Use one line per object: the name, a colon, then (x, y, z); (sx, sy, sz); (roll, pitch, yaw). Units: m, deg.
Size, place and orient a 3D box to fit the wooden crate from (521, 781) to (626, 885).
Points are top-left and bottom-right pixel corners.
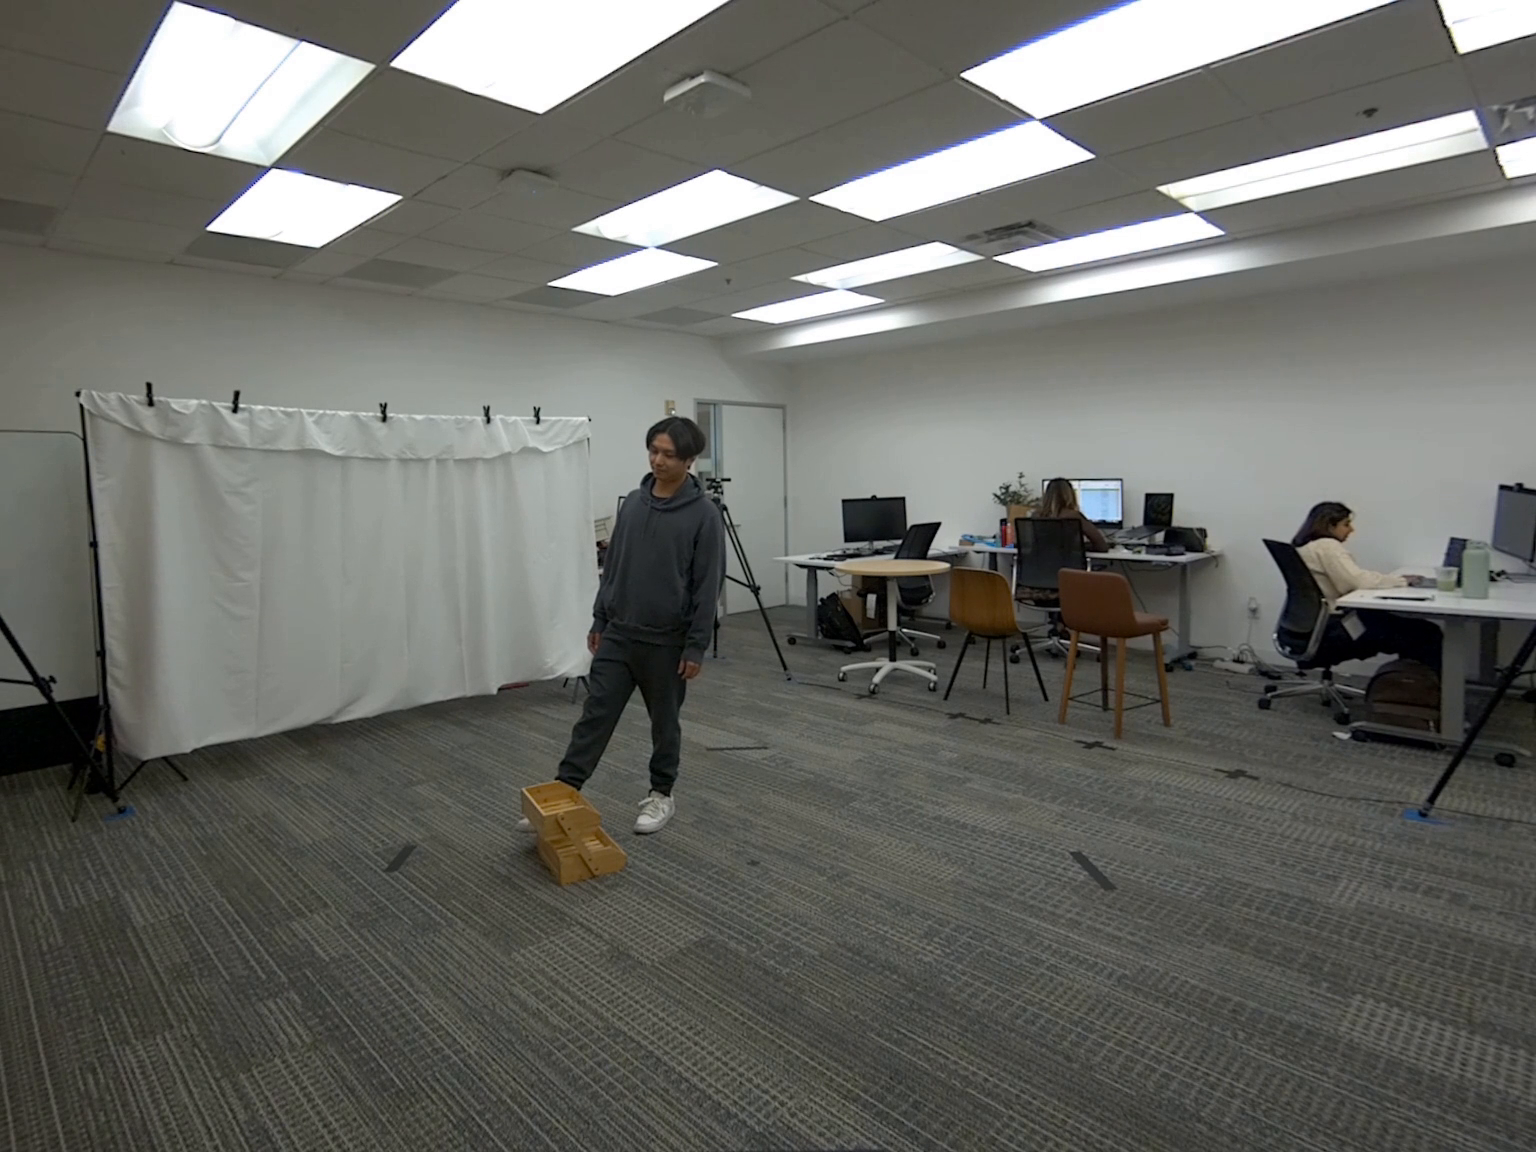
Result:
wooden crate: (-0.711, 0.916, 3.134); (0.295, 0.272, 0.333); (-6, 7, -29)
